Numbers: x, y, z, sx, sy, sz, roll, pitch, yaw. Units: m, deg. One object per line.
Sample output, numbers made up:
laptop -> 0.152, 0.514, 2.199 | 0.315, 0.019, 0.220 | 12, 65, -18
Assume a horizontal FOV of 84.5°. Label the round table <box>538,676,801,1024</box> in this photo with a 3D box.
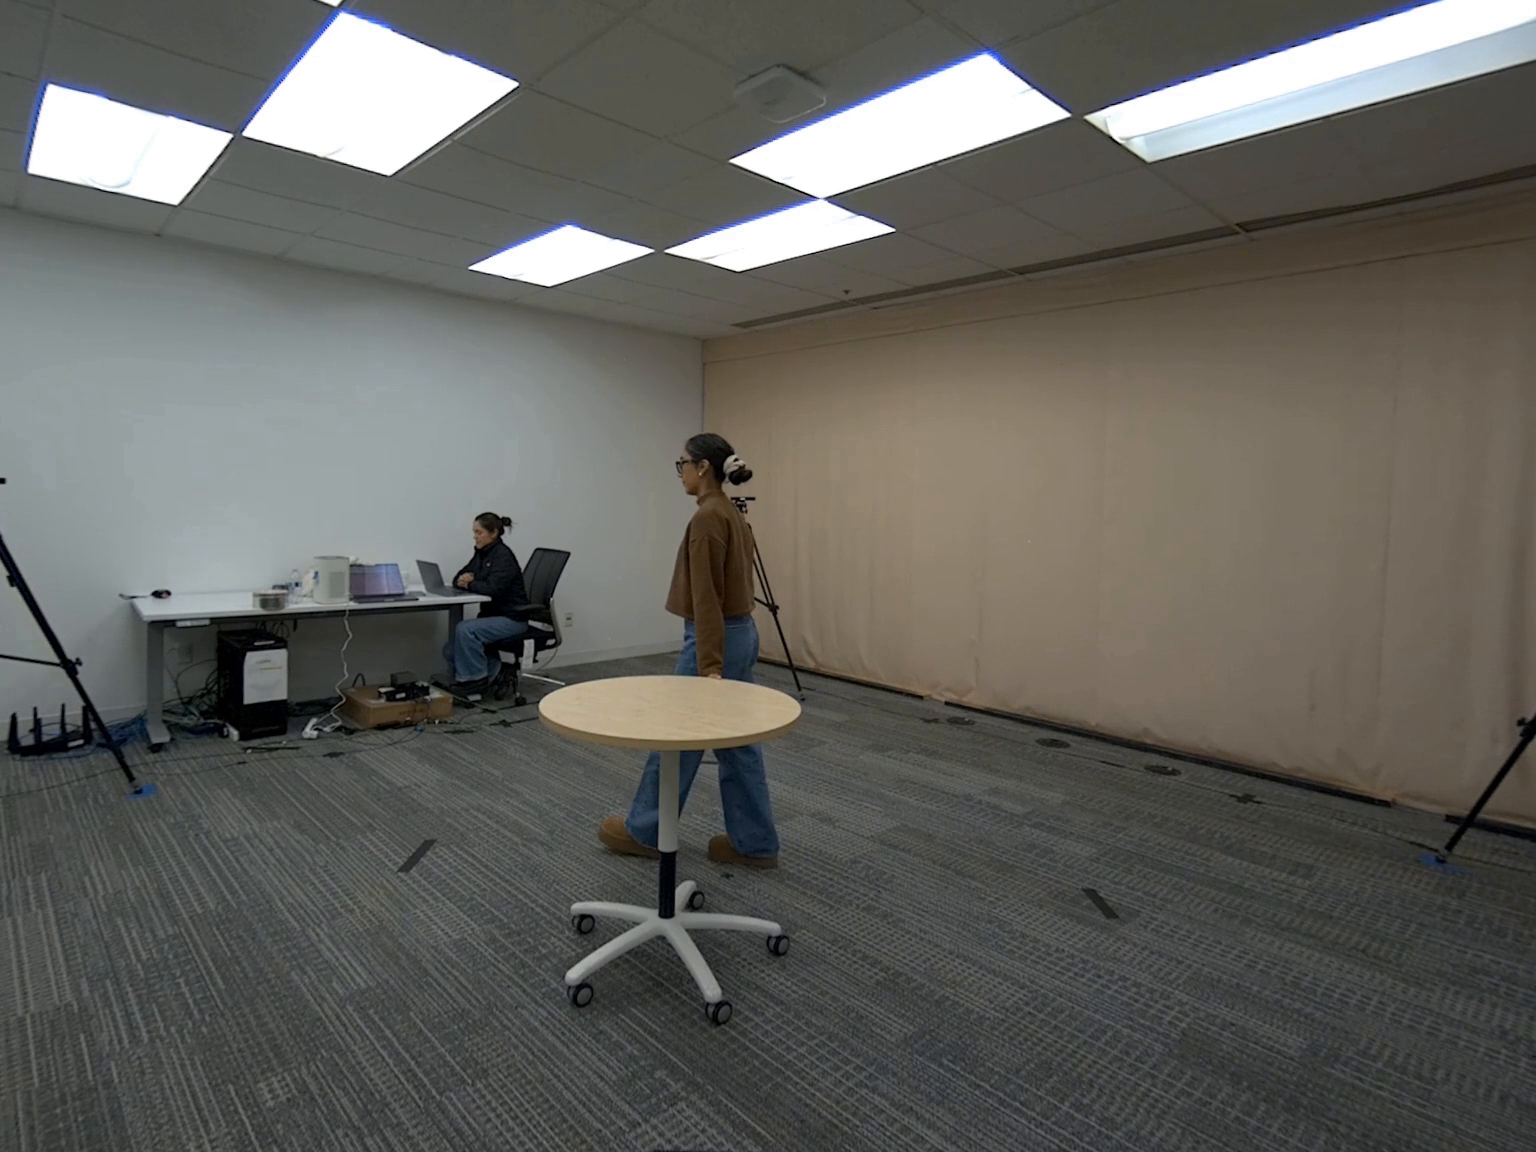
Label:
round table -> -0.297, 0.770, 2.490 | 0.784, 0.784, 0.788 | 1, 4, -1
